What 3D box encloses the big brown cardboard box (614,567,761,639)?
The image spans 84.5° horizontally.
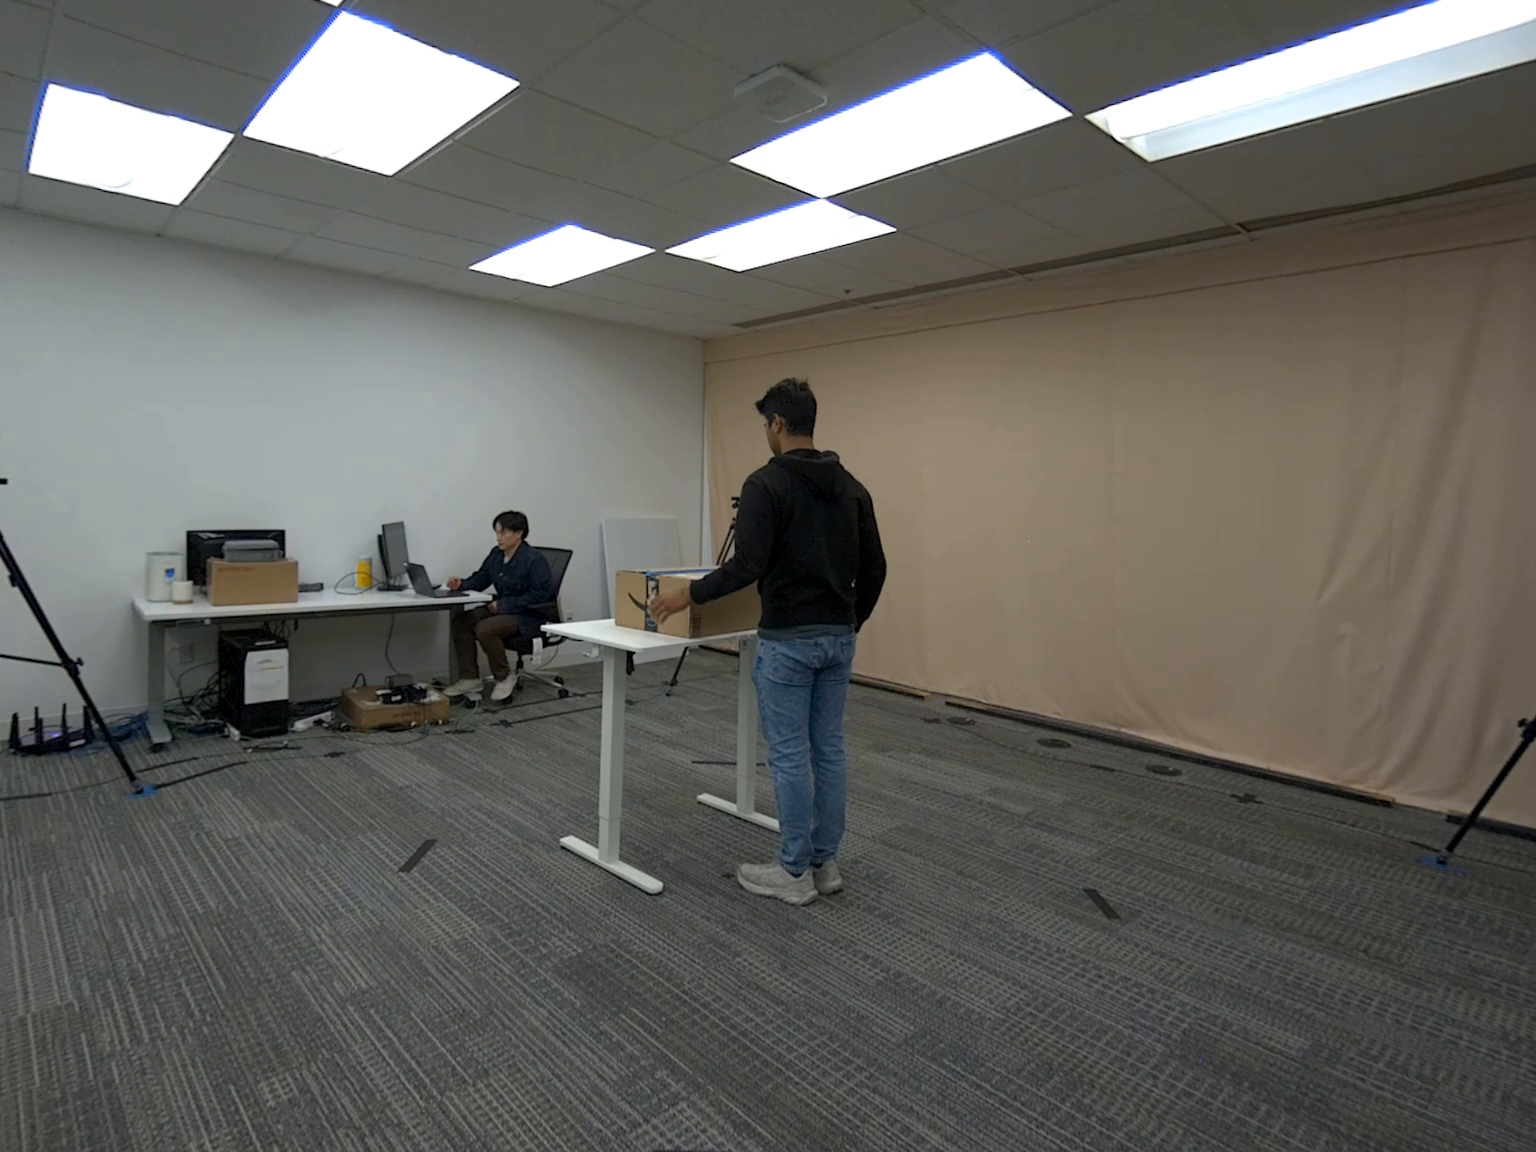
[{"bbox_3d":[-0.272,0.088,3.372,0.428,0.232,0.575,5,5,39],"label":"big brown cardboard box"}]
